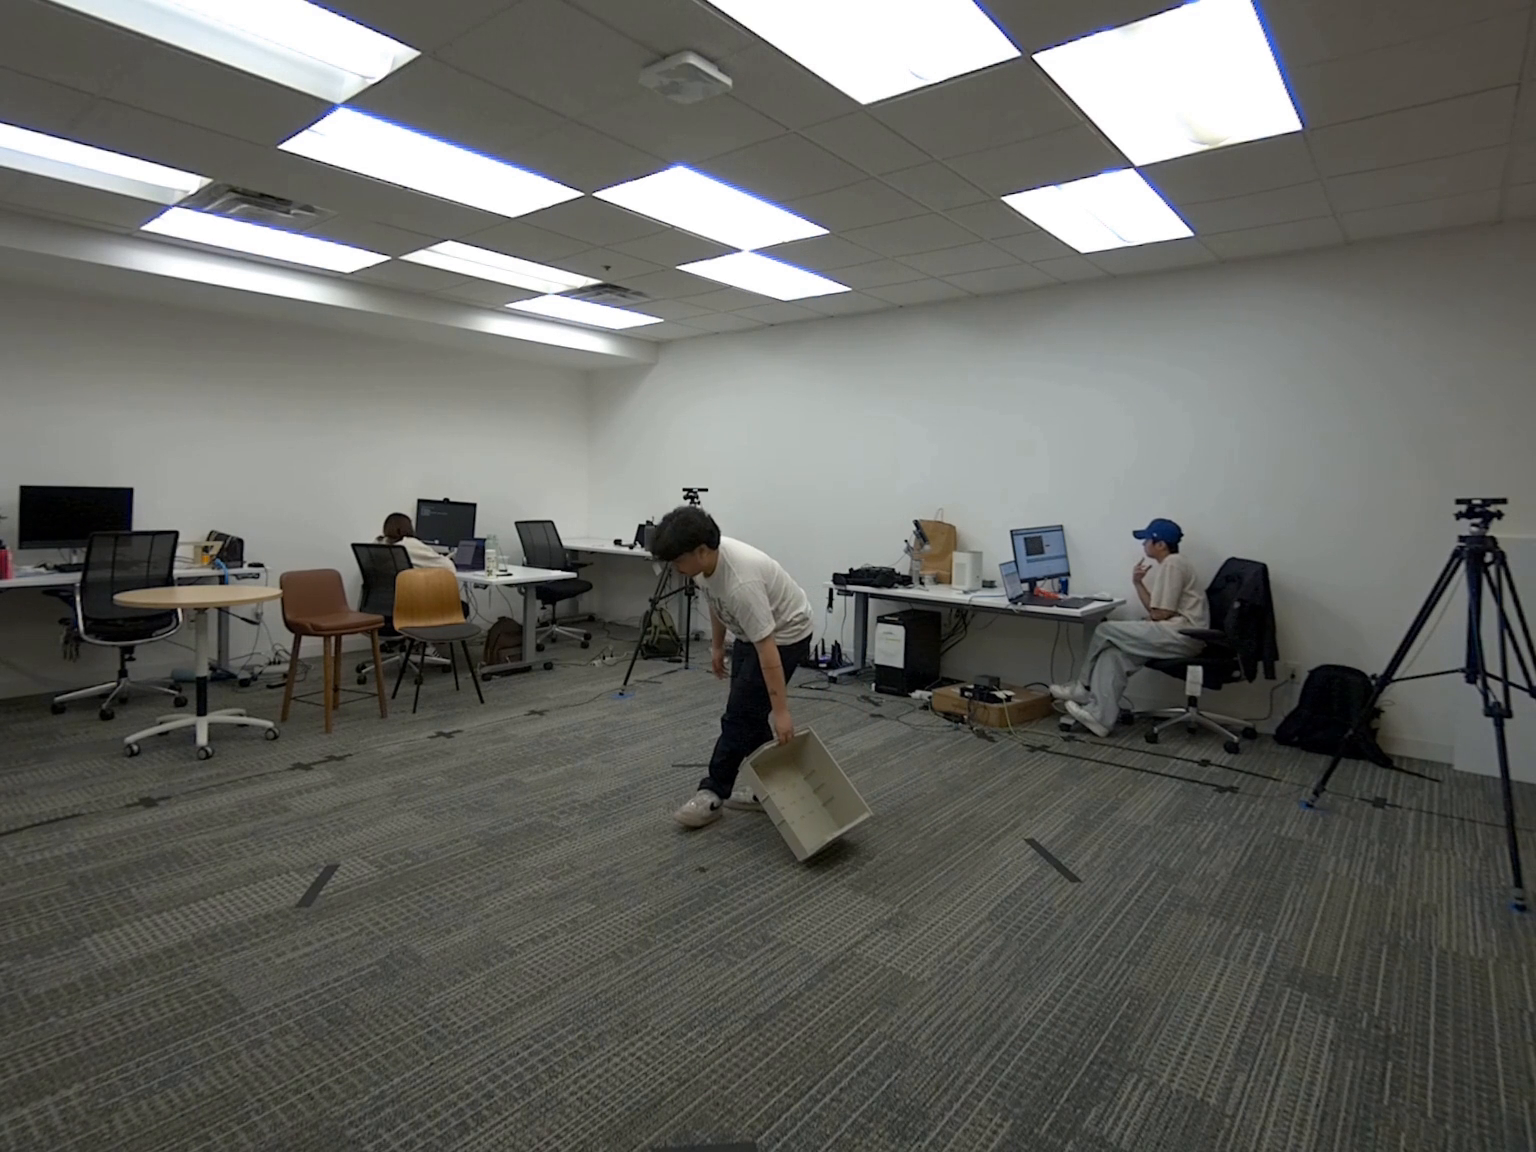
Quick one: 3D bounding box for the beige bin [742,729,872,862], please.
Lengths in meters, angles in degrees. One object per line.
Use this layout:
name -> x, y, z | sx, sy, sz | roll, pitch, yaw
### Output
beige bin -> 0.127, 0.846, 3.327 | 0.436, 0.188, 0.366 | 51, 28, 22
